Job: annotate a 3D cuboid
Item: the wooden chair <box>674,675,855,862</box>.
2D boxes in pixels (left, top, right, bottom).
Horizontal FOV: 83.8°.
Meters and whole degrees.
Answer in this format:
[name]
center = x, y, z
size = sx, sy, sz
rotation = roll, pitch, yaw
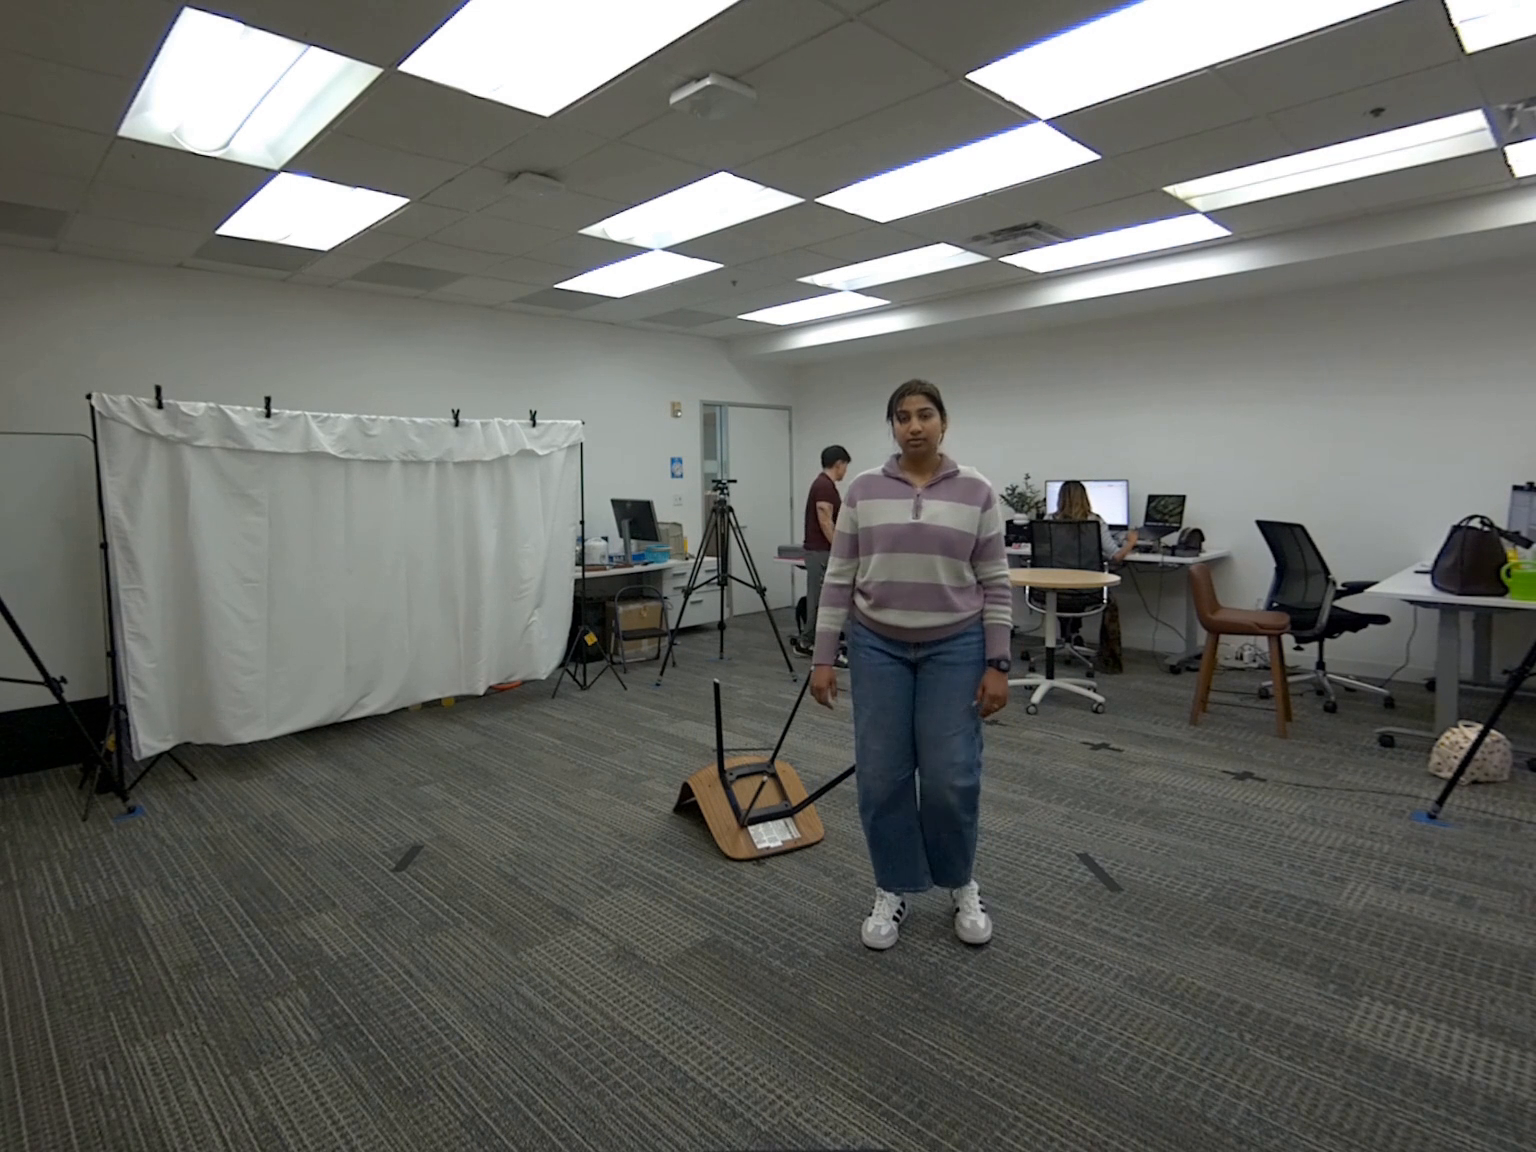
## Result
[wooden chair]
center = -0.042, 0.851, 3.346
size = 0.467, 0.866, 0.543
rotation = -3, 46, -30
